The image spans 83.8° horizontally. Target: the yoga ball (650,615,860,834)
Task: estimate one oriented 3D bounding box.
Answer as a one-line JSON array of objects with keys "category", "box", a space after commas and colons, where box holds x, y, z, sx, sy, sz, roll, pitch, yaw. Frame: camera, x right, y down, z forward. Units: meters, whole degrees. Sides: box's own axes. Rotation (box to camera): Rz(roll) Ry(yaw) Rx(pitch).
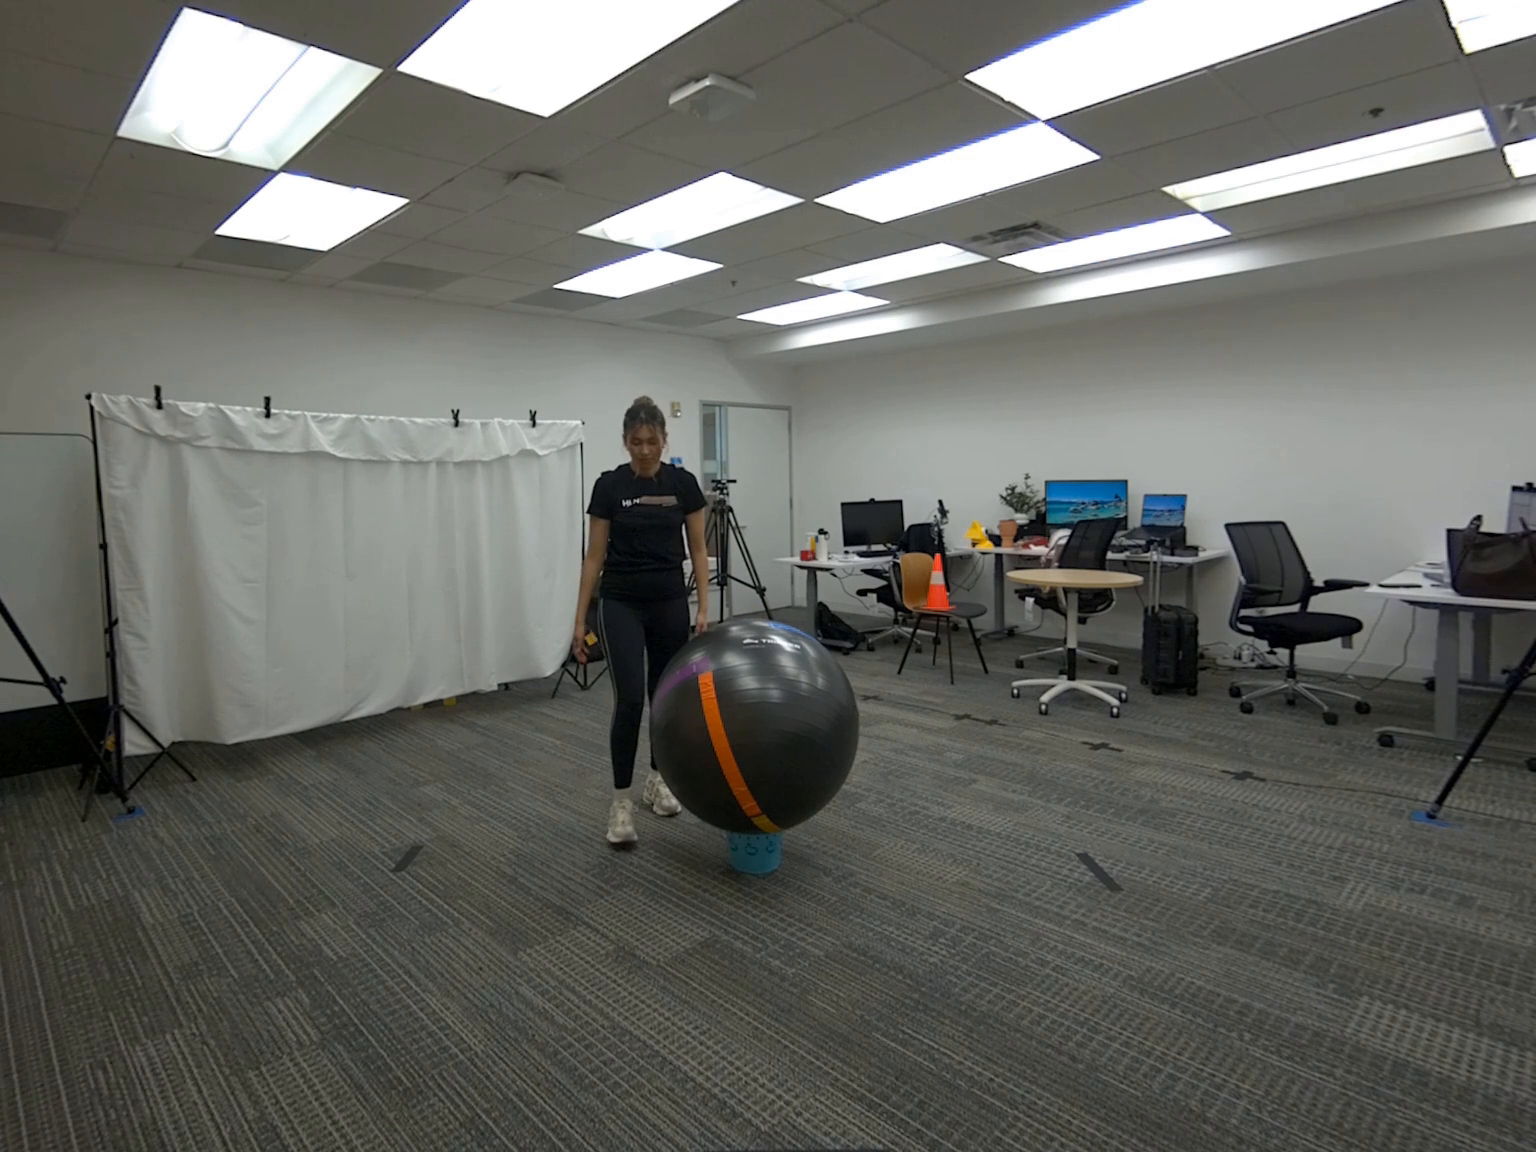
[{"category": "yoga ball", "box": [-0.051, 0.540, 3.089, 0.757, 0.755, 0.762, -1, 5, -2]}]
